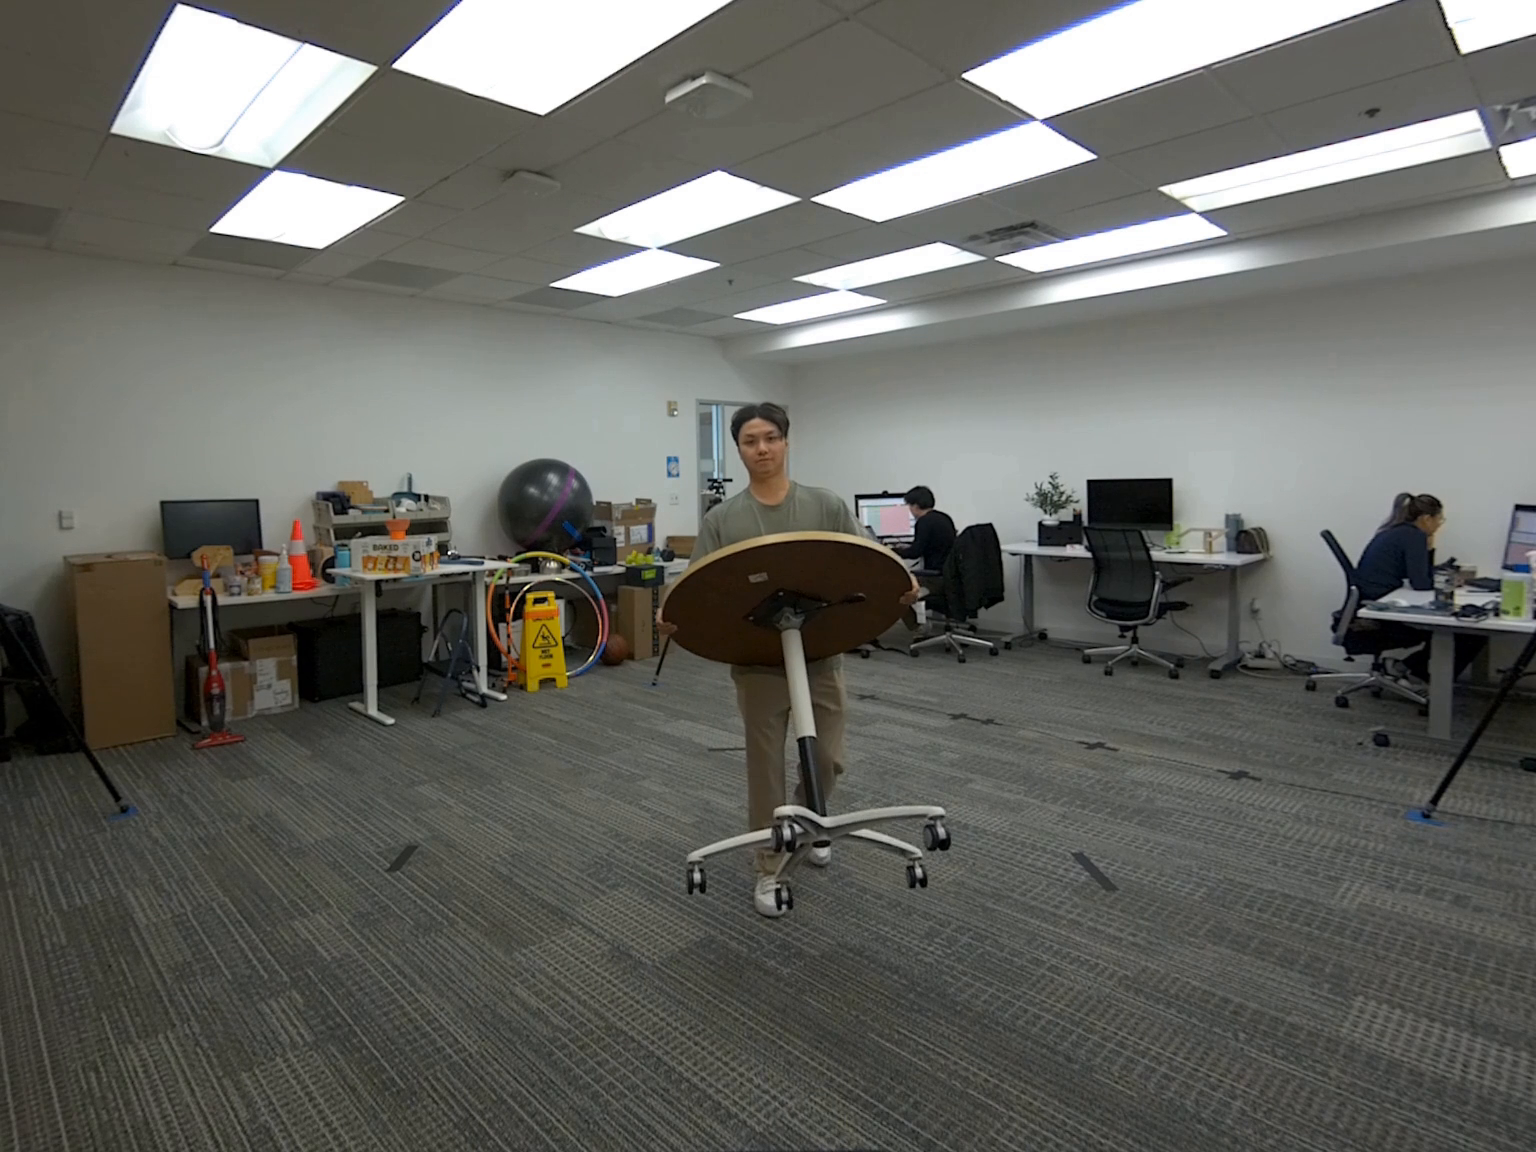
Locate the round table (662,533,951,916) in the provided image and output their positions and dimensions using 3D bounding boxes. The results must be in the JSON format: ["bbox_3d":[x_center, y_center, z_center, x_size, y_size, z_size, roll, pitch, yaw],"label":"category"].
[{"bbox_3d":[0.097,0.432,2.392,0.783,0.809,0.766,-4,-34,-4],"label":"round table"}]
